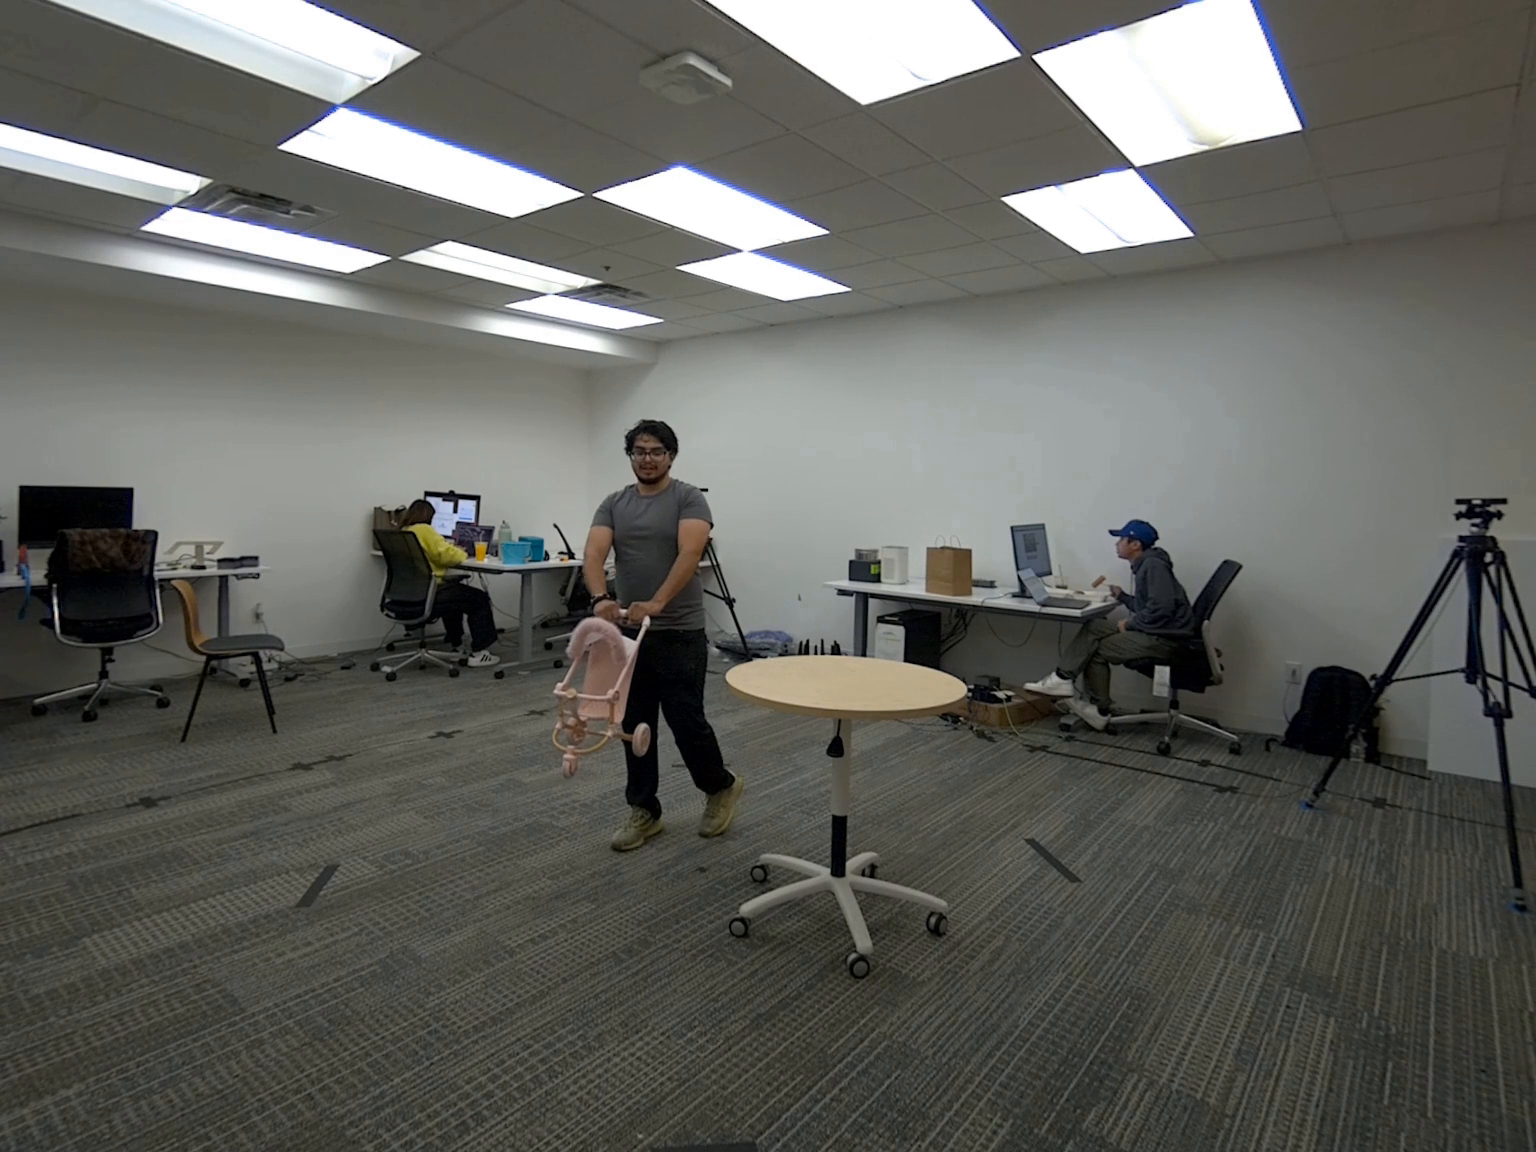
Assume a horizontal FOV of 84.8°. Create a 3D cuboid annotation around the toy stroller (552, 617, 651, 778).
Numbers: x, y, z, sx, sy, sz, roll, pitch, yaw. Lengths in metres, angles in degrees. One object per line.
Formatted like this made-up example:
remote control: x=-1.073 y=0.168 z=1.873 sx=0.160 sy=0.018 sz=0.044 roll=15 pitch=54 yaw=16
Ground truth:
toy stroller: x=-0.583 y=0.377 z=2.813 sx=0.289 sy=0.537 sz=0.331 roll=5 pitch=-4 yaw=24
